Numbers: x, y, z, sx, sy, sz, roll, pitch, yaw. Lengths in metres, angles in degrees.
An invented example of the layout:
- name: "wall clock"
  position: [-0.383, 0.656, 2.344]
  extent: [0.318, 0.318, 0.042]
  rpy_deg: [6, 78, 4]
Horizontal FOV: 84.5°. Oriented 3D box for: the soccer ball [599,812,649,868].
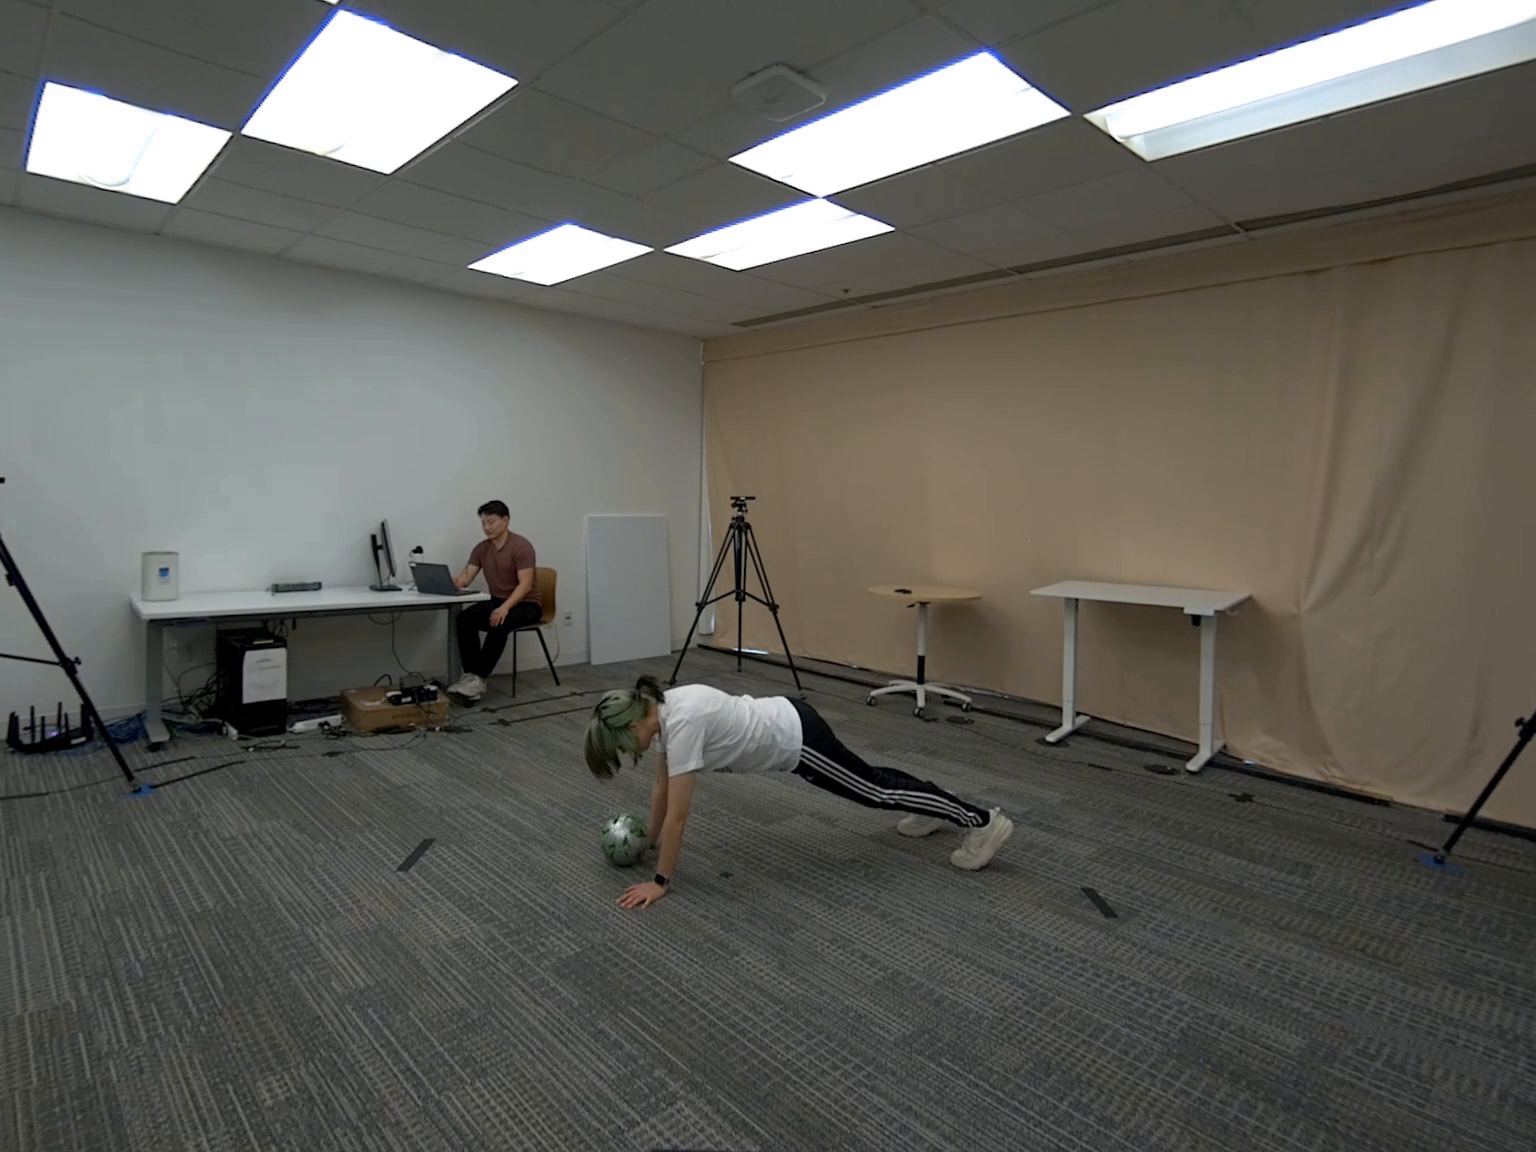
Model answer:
- name: "soccer ball"
  position: [-0.547, 0.995, 3.181]
  extent: [0.187, 0.187, 0.188]
  rpy_deg: [1, 4, -1]
